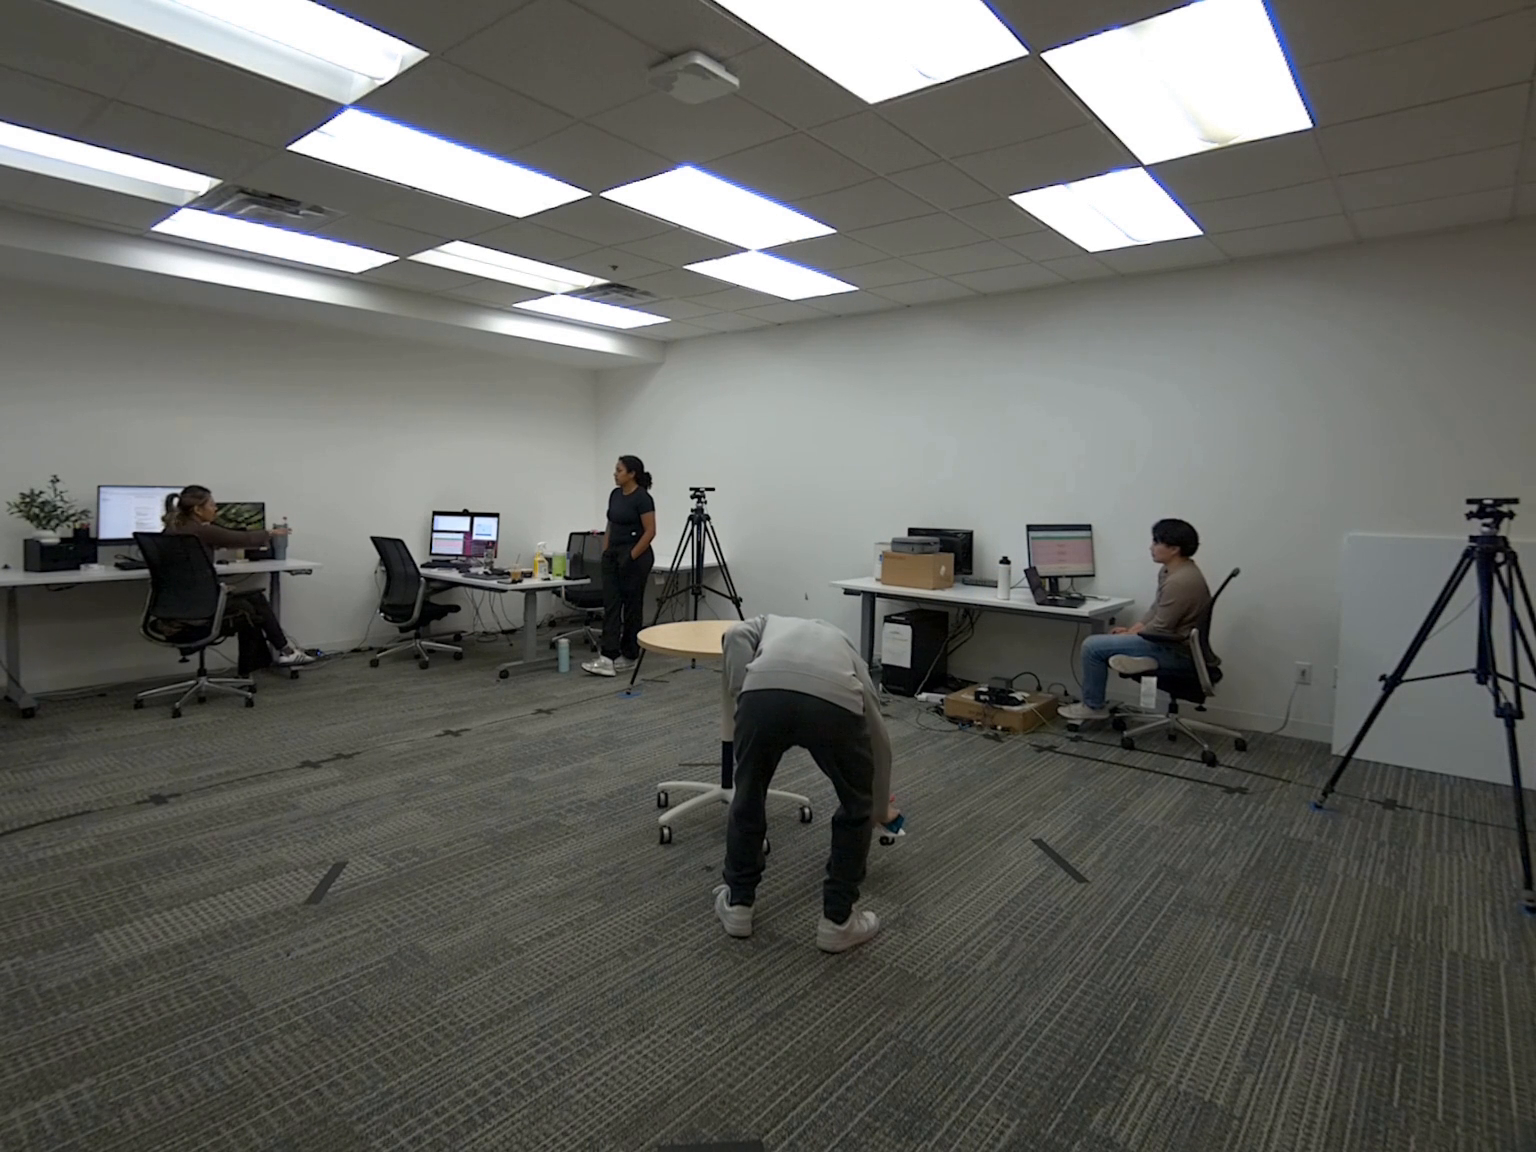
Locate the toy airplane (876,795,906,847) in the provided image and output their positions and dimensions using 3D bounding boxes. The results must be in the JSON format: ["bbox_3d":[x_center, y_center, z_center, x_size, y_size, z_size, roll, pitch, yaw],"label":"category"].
[{"bbox_3d":[0.393,0.880,3.152,0.265,0.156,0.245,16,2,18],"label":"toy airplane"}]
